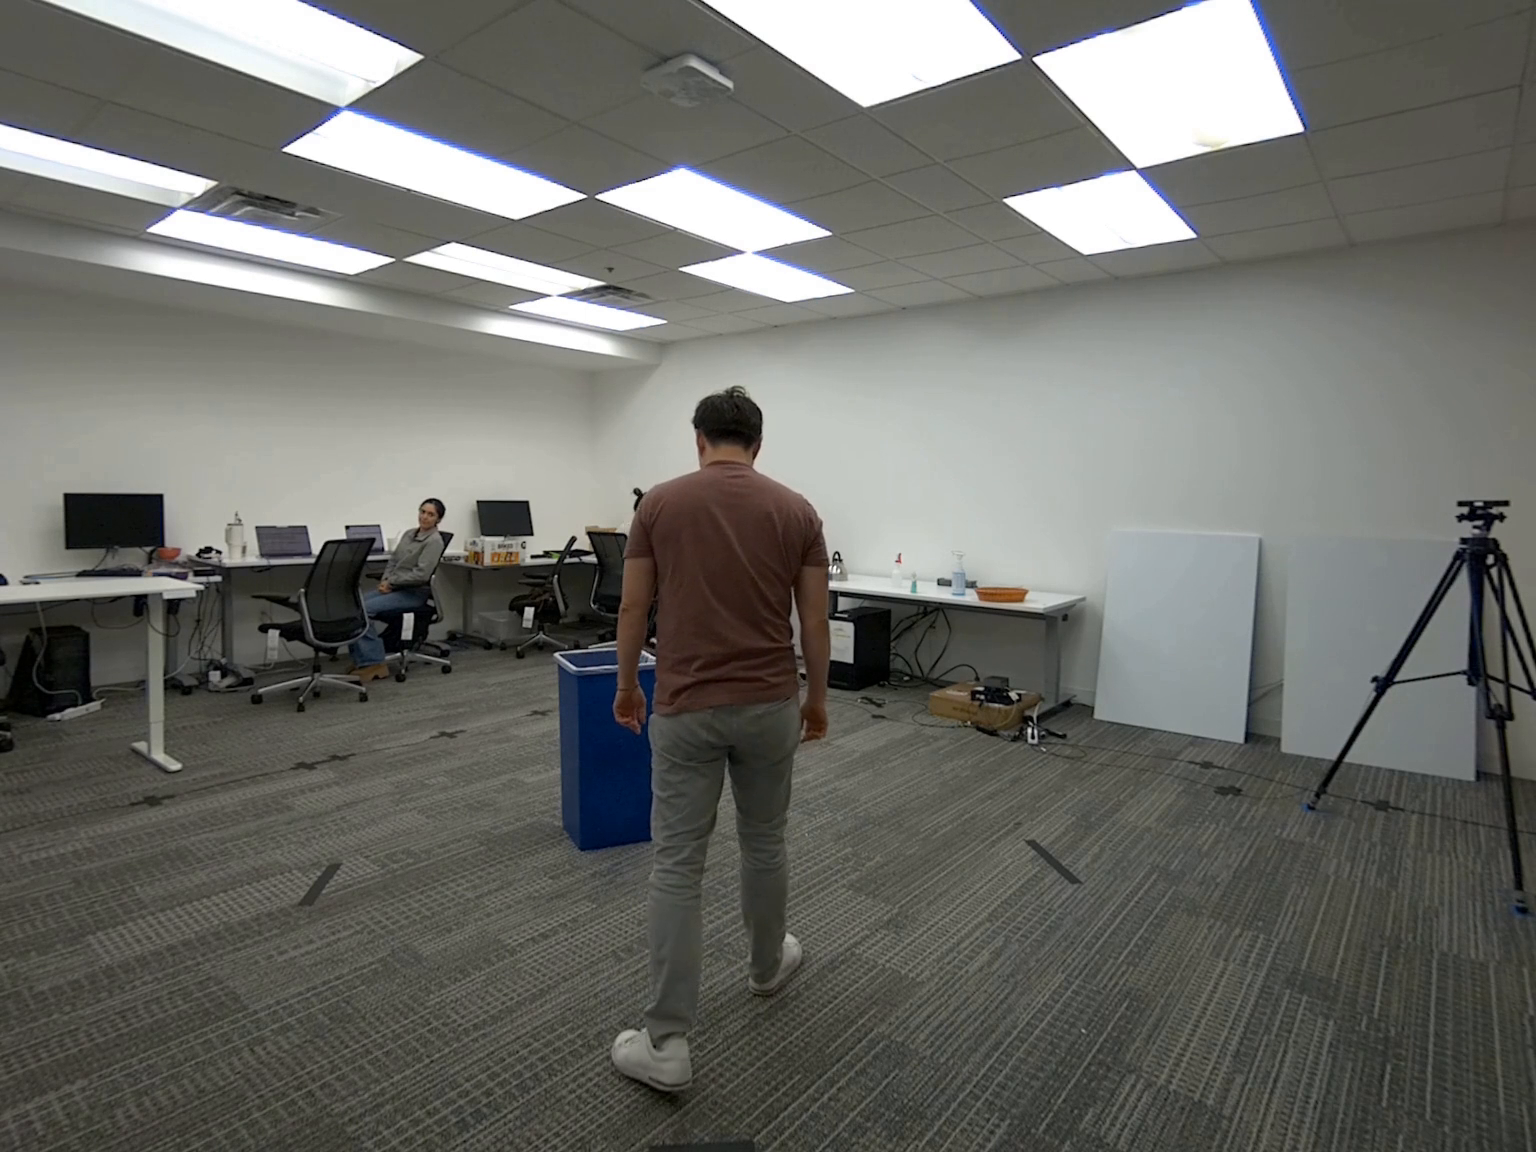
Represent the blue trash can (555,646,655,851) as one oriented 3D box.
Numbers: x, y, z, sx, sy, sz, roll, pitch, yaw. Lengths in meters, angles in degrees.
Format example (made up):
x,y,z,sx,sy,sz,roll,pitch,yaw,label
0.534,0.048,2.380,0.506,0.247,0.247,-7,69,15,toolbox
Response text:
x,y,z,sx,sy,sz,roll,pitch,yaw,label
-0.666,0.676,3.421,0.365,0.712,0.388,0,3,-27,blue trash can
